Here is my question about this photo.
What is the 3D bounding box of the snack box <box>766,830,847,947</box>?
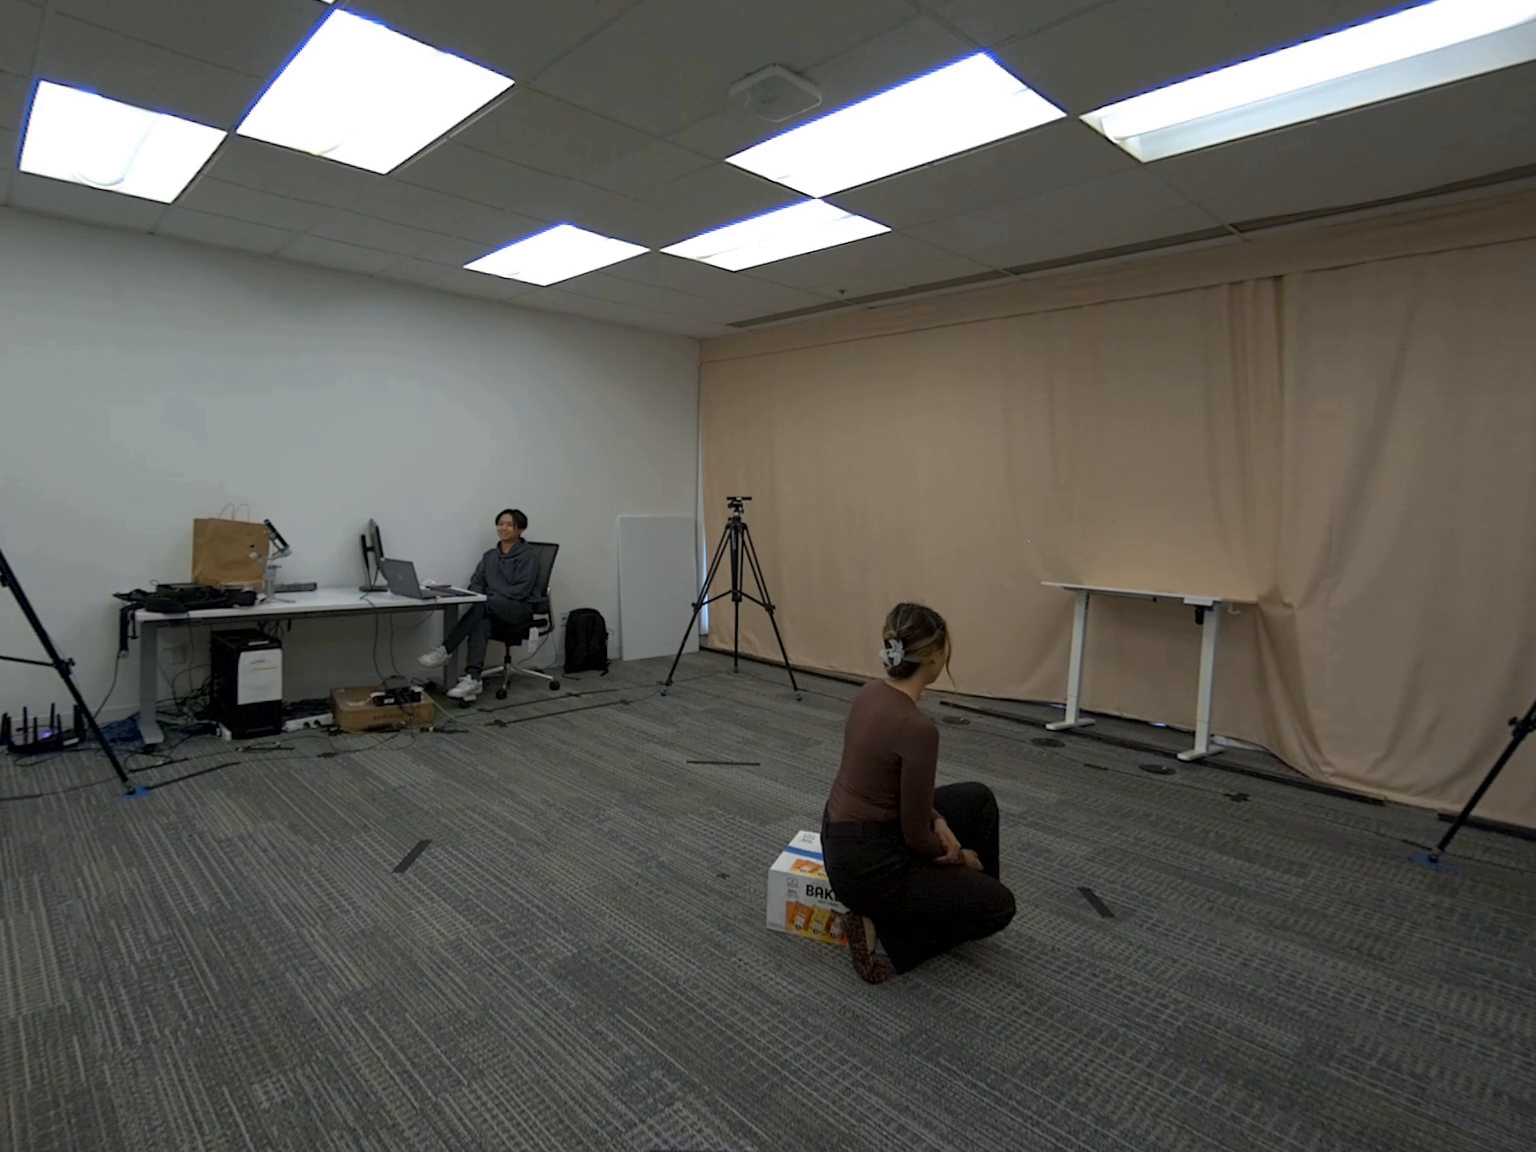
[{"bbox_3d":[0.242,1.044,2.801,0.412,0.205,0.336,4,6,20],"label":"snack box"}]
